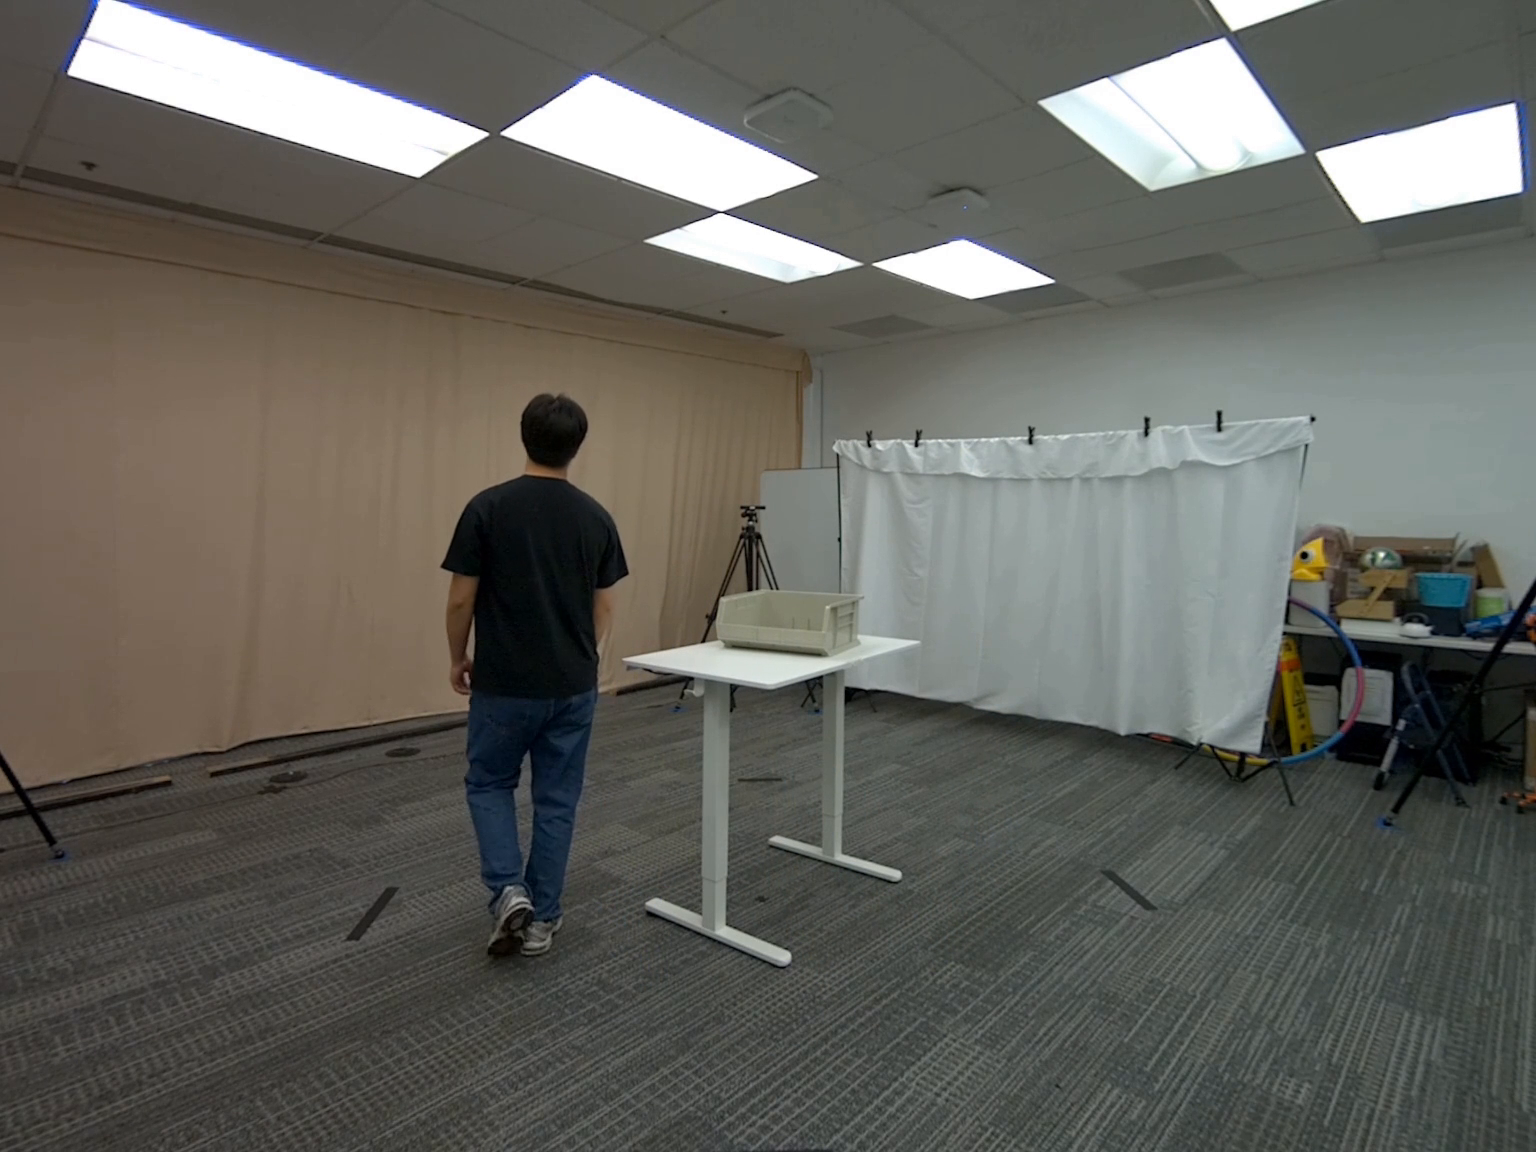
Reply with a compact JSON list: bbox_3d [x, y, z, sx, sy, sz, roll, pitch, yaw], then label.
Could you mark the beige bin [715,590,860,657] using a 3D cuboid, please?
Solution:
[{"bbox_3d":[0.090,0.169,3.050,0.434,0.189,0.368,2,3,27],"label":"beige bin"}]
